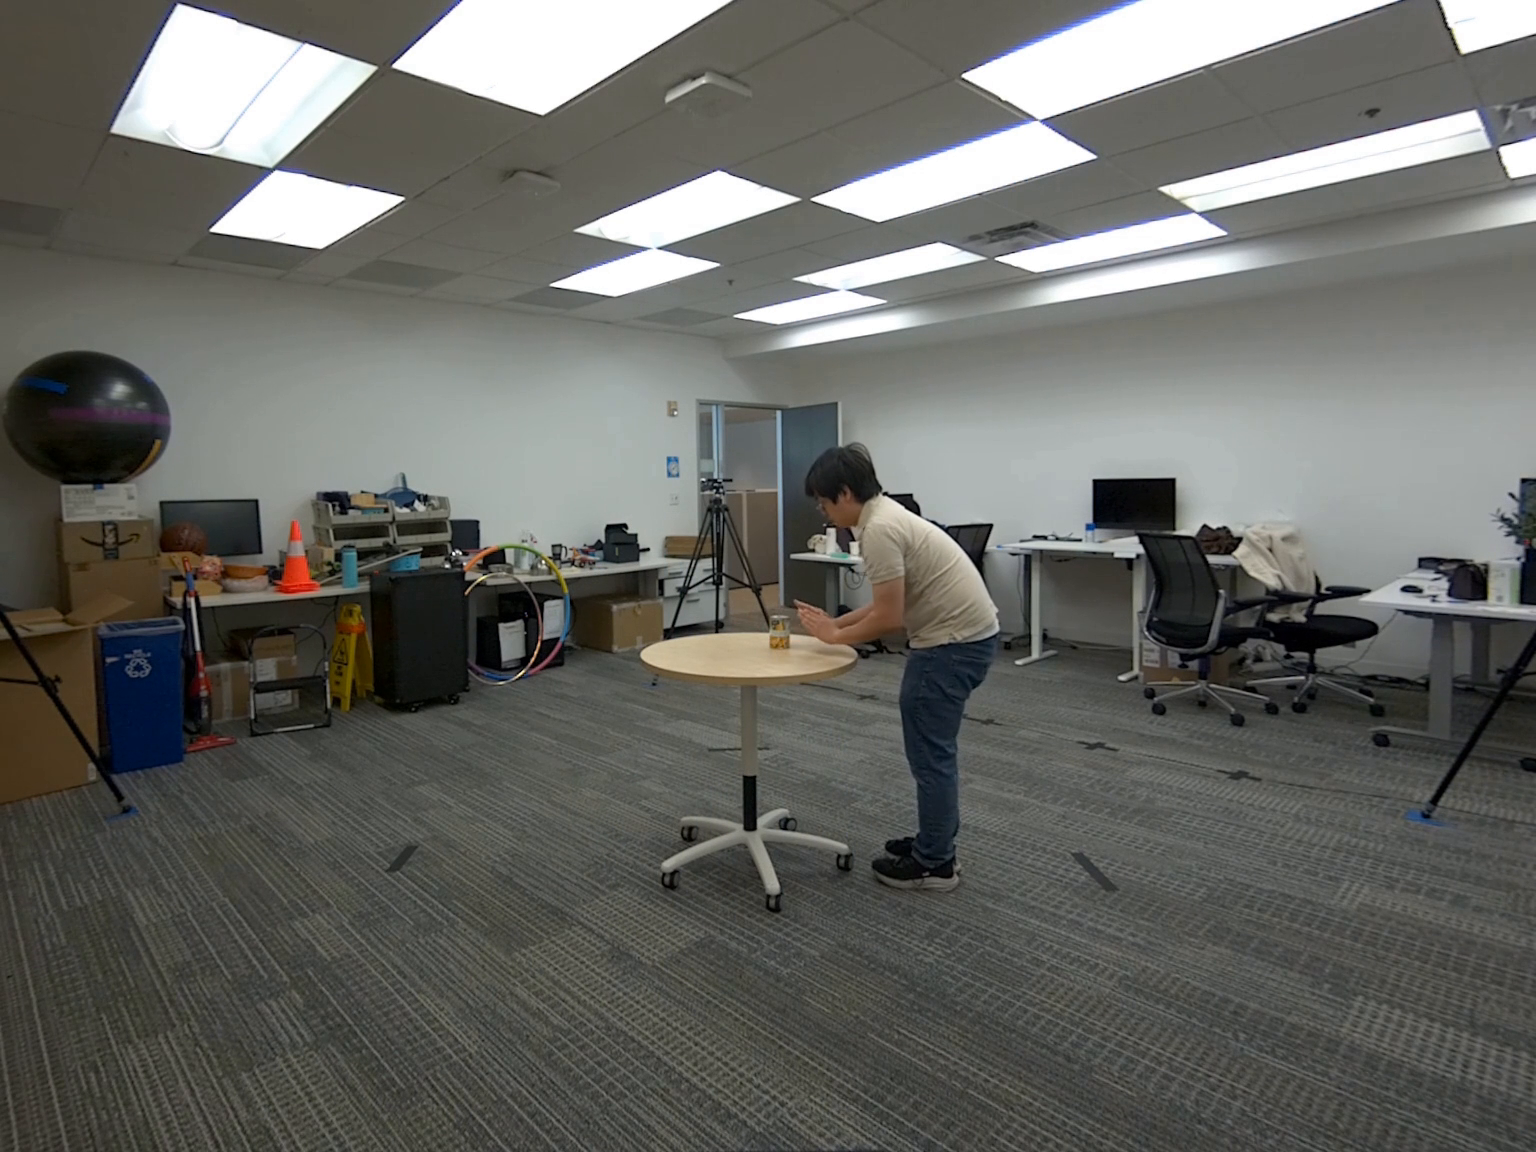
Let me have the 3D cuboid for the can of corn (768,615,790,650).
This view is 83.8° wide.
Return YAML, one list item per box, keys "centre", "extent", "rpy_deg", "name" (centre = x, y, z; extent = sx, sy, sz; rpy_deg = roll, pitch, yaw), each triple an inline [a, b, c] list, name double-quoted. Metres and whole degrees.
- centre: [0.052, 0.205, 3.104]
  extent: [0.074, 0.110, 0.074]
  rpy_deg: [0, 5, -2]
  name: "can of corn"
